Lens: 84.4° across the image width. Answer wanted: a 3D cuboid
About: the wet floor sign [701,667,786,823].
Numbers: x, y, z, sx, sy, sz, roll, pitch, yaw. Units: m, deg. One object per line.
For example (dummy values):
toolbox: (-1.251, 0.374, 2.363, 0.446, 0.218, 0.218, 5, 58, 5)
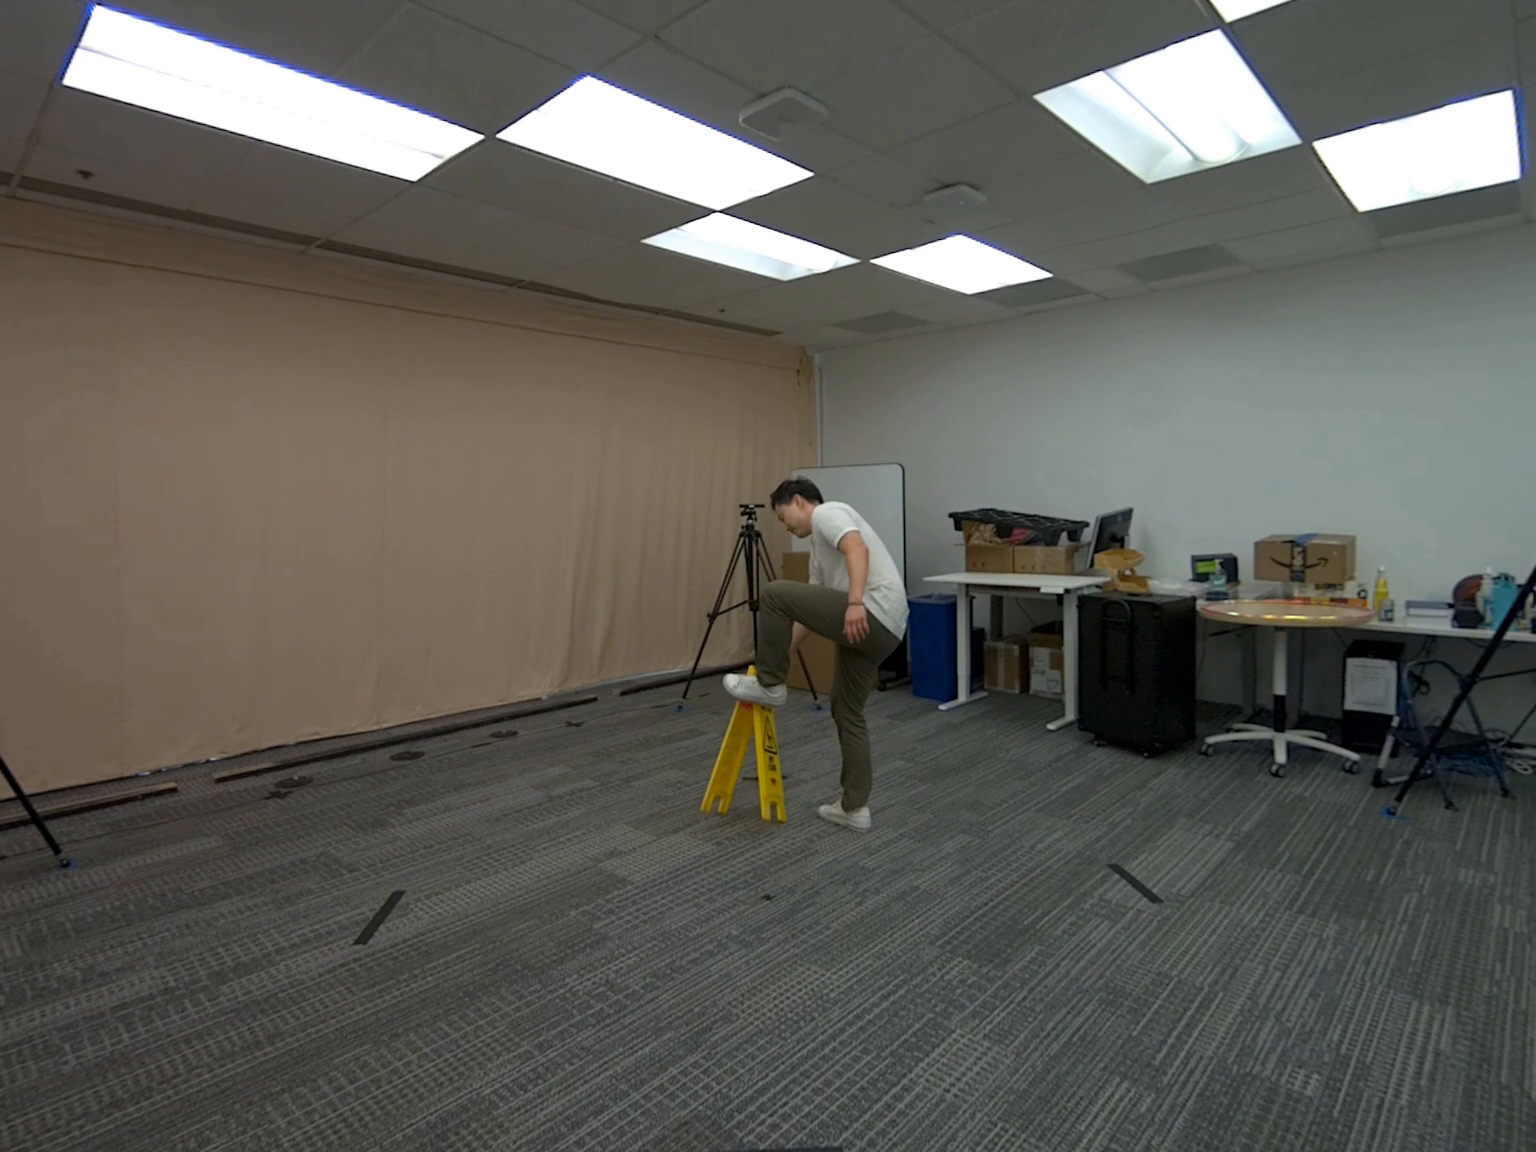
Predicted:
wet floor sign: (-0.076, 0.733, 3.738, 0.296, 0.651, 0.274, 0, -18, 21)
